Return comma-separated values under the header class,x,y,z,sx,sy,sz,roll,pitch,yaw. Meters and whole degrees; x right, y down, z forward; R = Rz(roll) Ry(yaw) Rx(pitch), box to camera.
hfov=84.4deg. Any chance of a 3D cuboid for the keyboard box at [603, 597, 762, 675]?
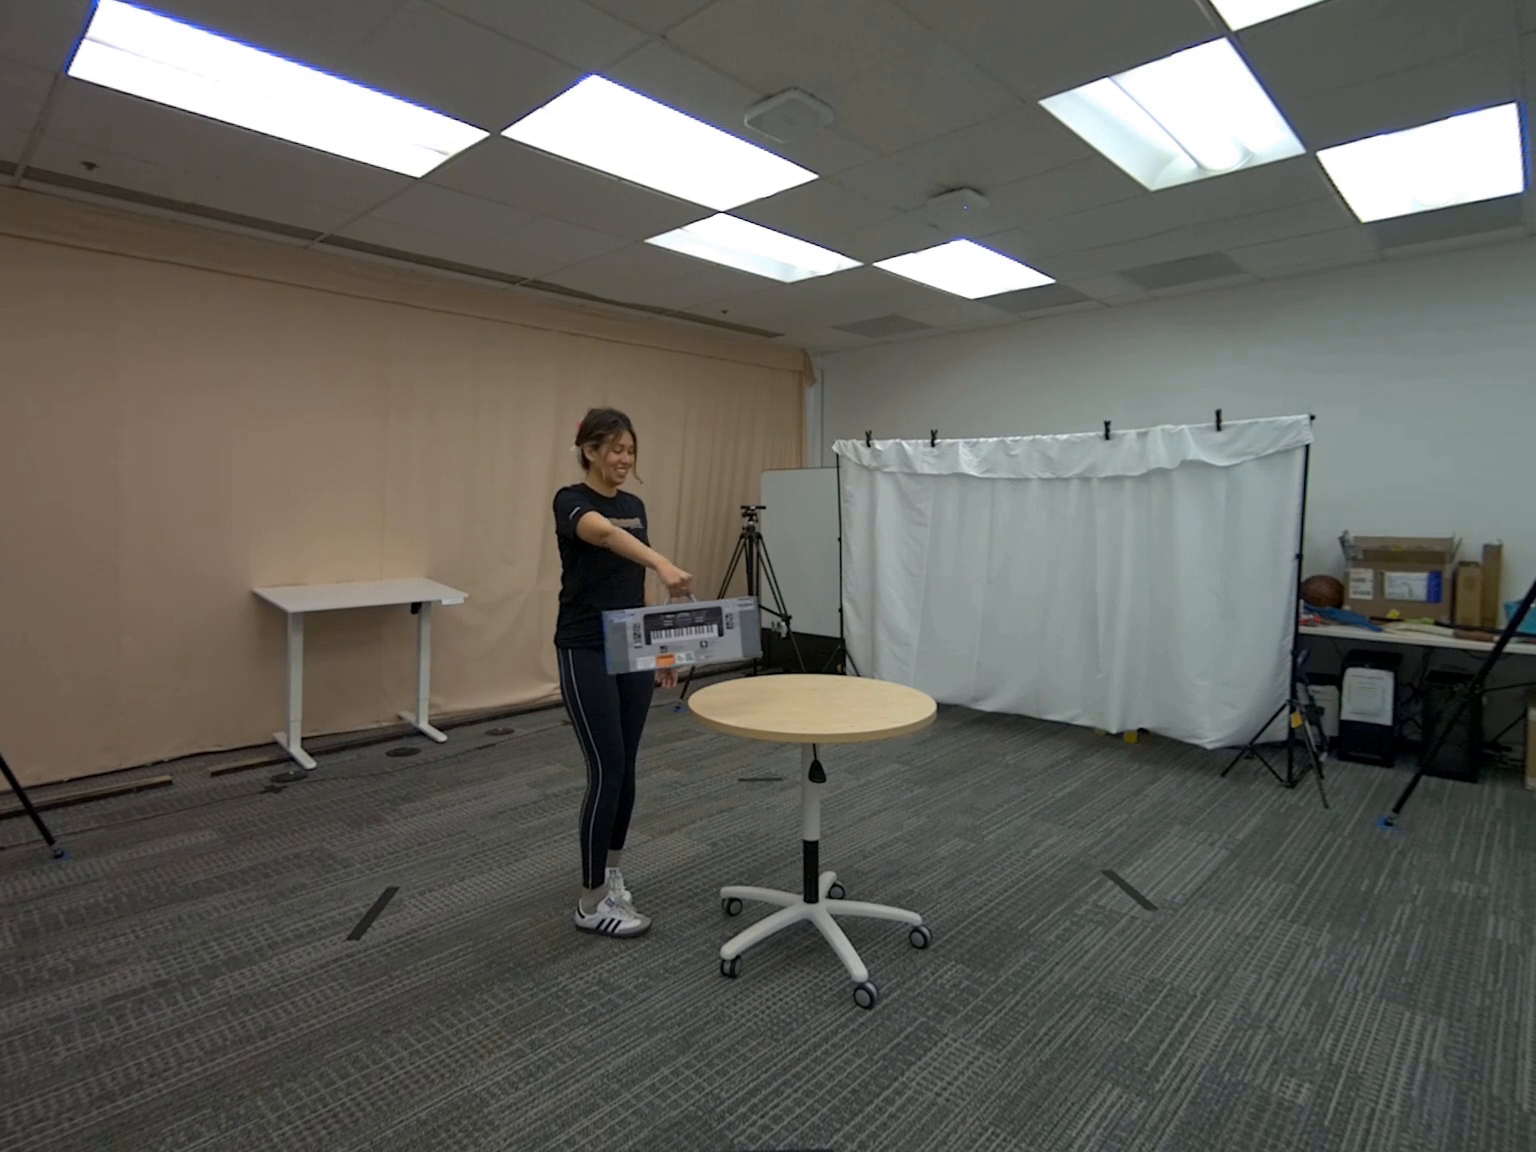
class,x,y,z,sx,sy,sz,roll,pitch,yaw
keyboard box,-0.242,0.163,2.369,0.430,0.176,0.060,-5,1,-16
